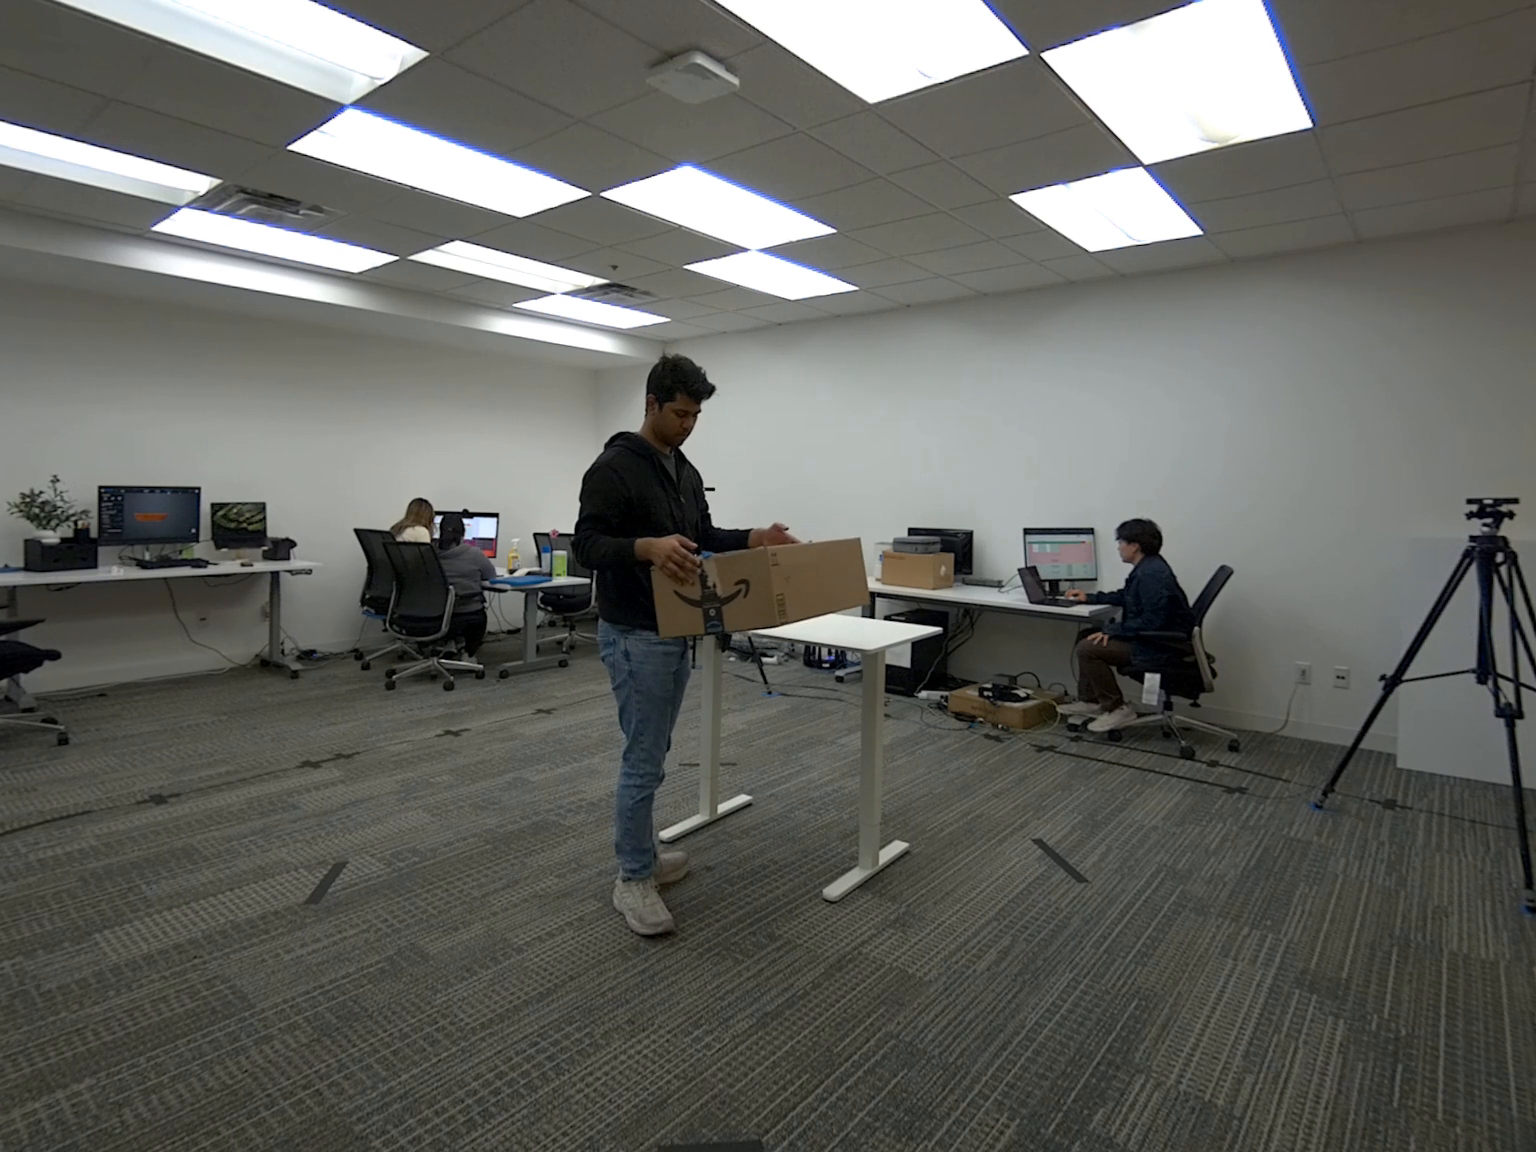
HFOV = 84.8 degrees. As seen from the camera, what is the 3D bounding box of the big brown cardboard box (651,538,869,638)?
[{"bbox_3d":[-0.022,0.033,2.593,0.428,0.233,0.573,-8,0,34],"label":"big brown cardboard box"}]
